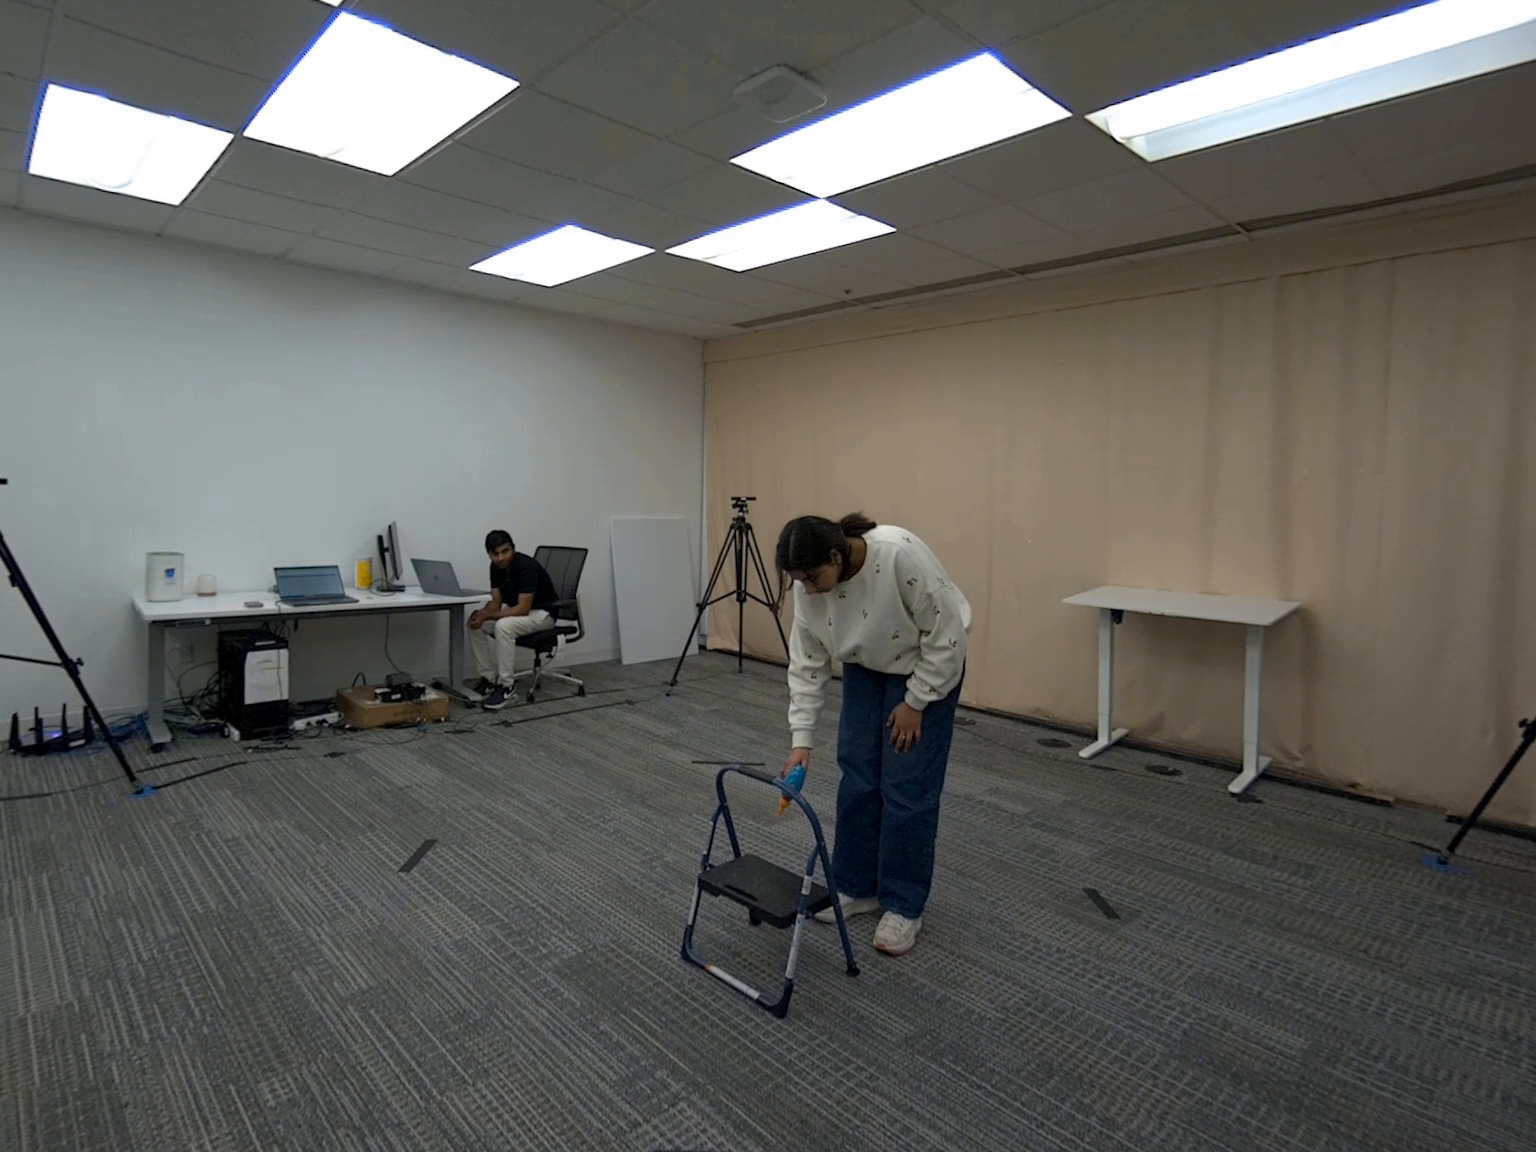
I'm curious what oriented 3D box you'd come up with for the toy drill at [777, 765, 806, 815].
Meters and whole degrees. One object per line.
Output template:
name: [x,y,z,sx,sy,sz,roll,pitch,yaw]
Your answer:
toy drill: [0.056,0.667,2.634,0.061,0.170,0.146,26,-1,-1]
